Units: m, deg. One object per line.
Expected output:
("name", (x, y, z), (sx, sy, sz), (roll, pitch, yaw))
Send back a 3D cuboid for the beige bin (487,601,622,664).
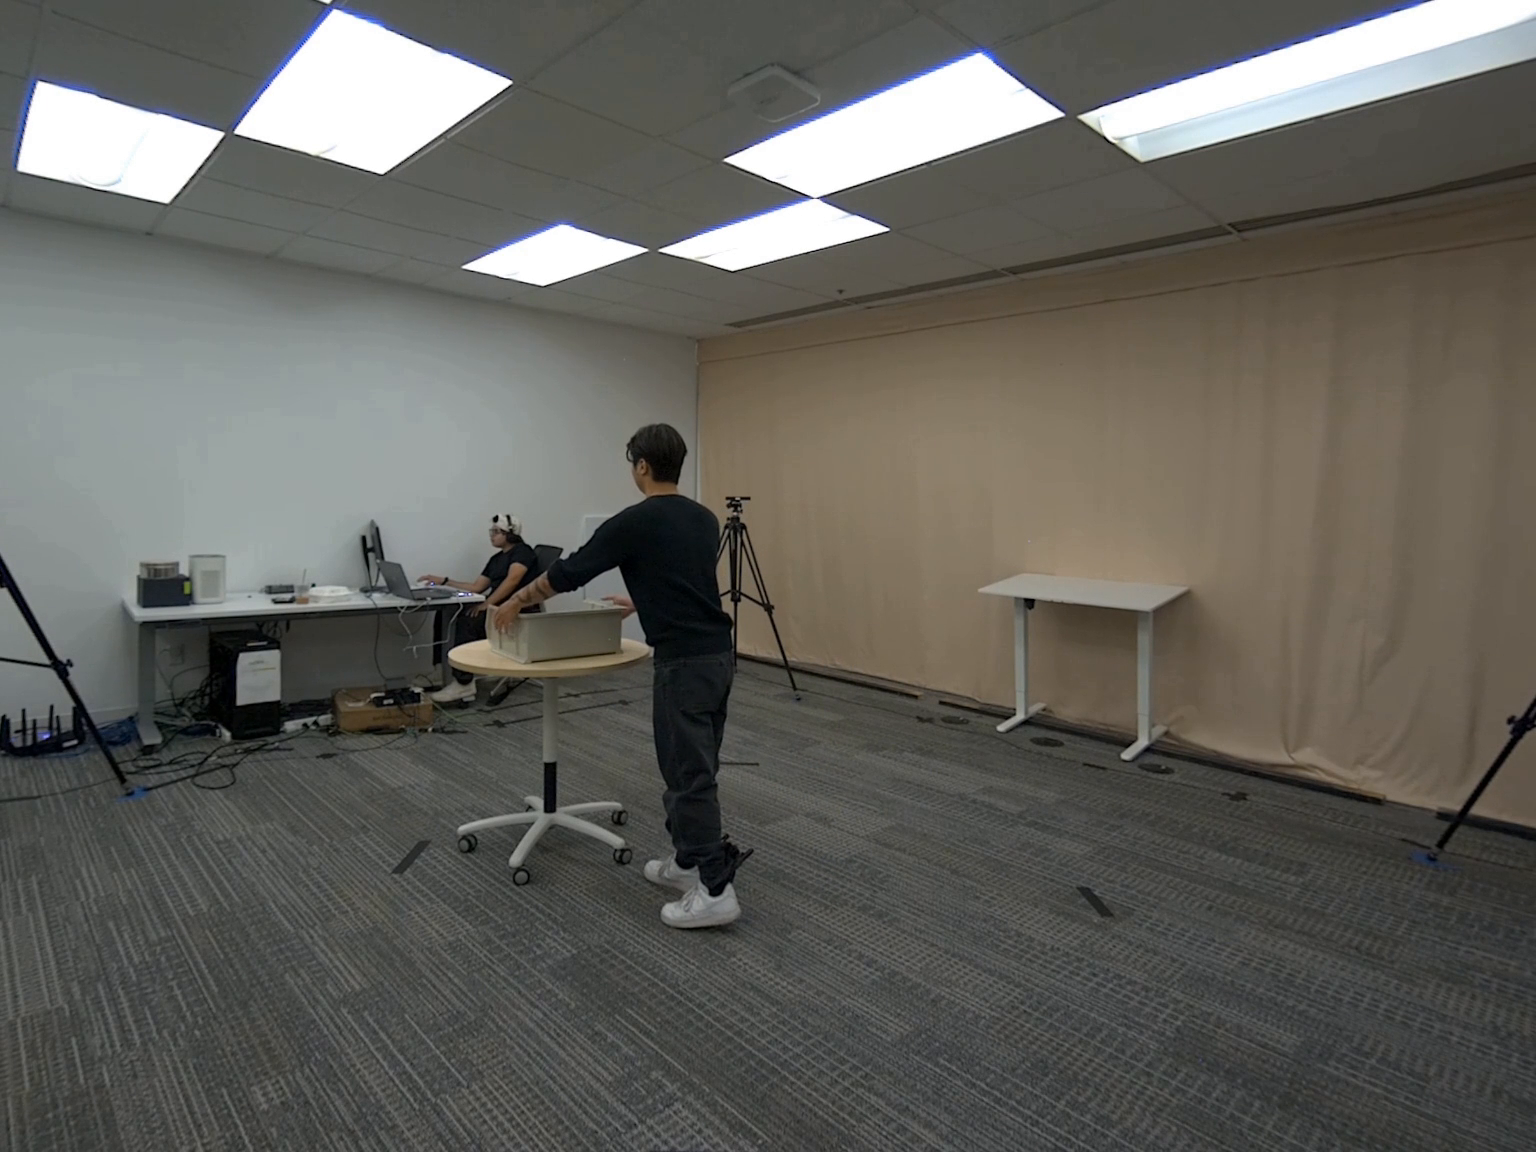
("beige bin", (-0.829, 0.204, 3.261), (0.413, 0.188, 0.387), (-2, 7, -38))
